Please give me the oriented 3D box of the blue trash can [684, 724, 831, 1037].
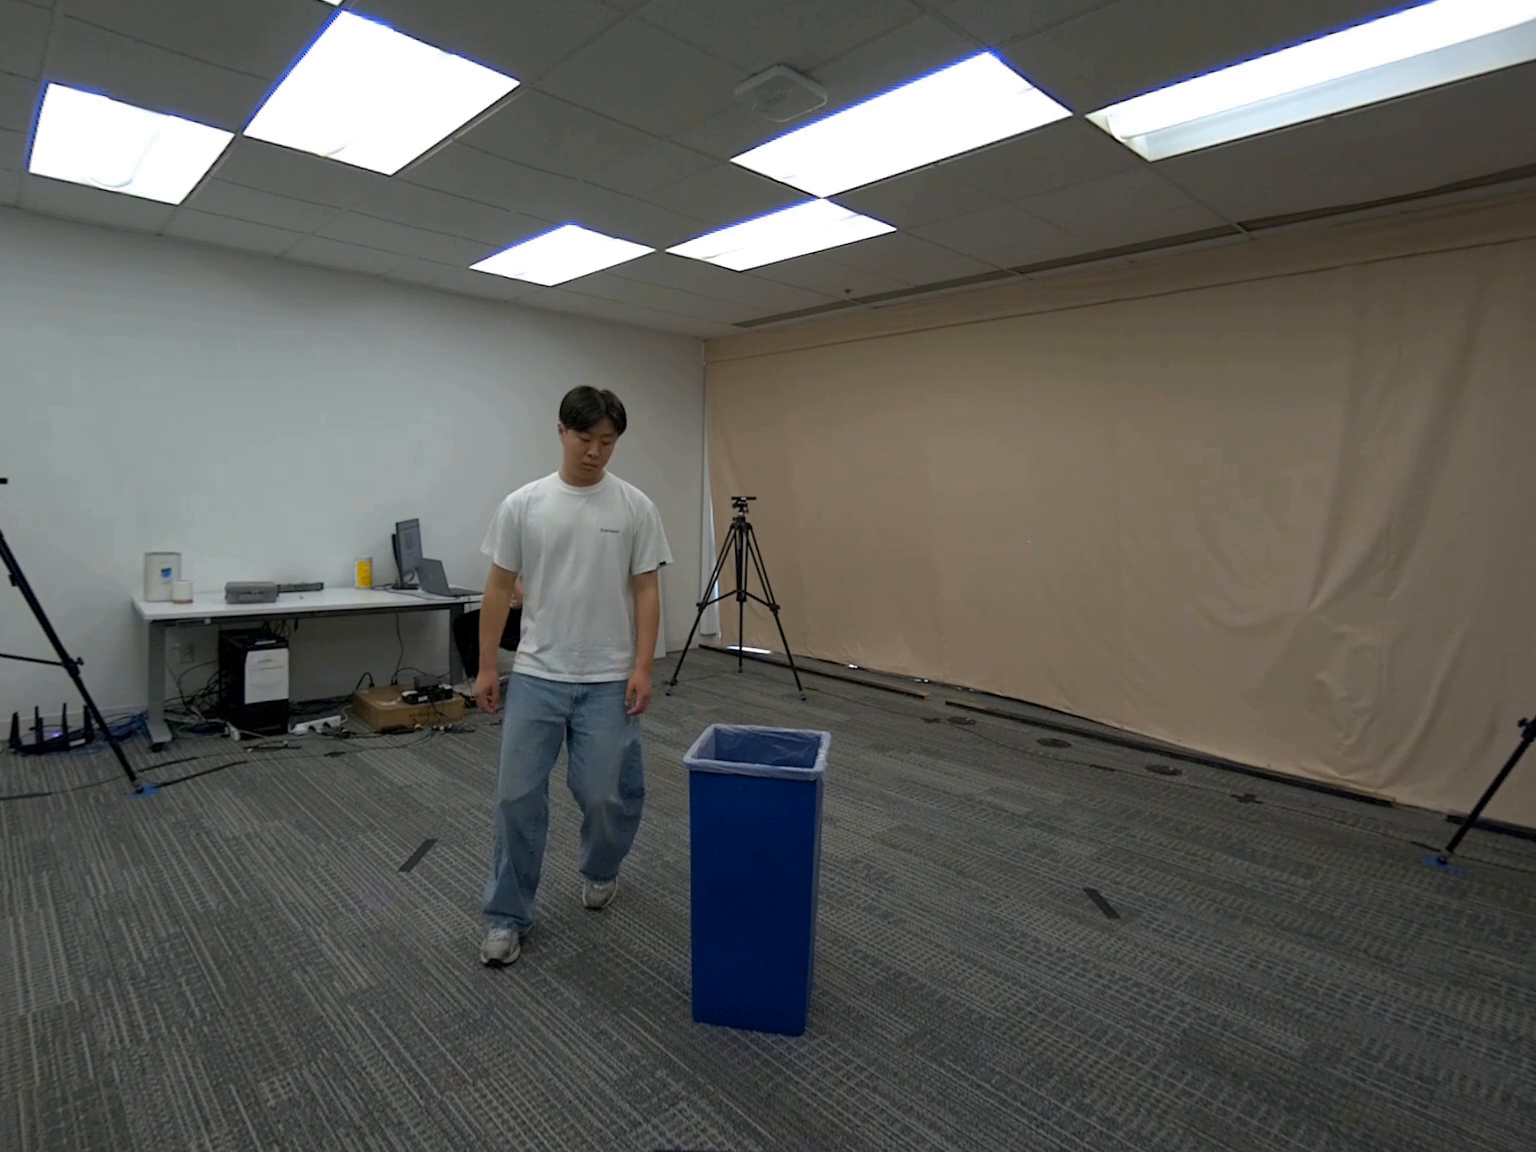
[{"bbox_3d":[-0.038,0.824,2.326,0.377,0.712,0.376,3,3,9],"label":"blue trash can"}]
